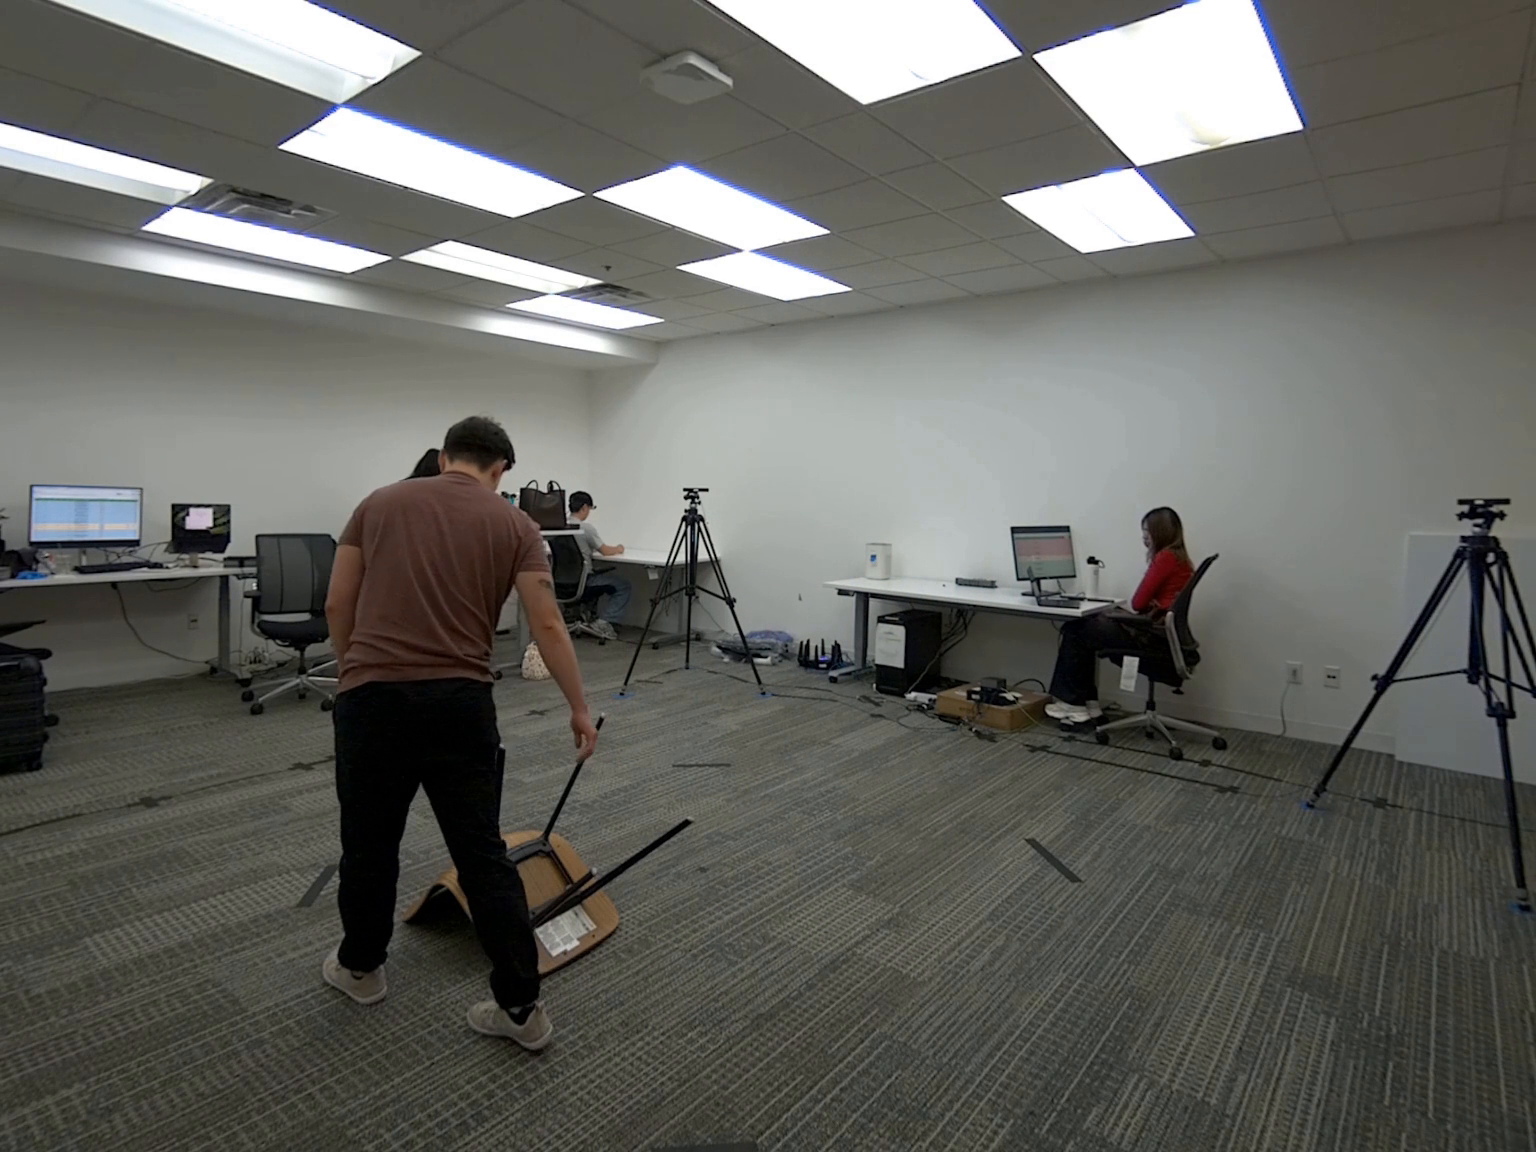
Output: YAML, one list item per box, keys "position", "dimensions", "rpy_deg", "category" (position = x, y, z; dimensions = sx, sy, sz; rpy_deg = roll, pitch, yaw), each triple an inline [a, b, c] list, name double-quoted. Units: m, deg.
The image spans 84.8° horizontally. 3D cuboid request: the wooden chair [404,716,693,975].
- position: [-0.719, 0.941, 2.621]
  dimensions: [0.538, 0.875, 0.466]
  rpy_deg: [47, 24, 20]
  category: "wooden chair"
